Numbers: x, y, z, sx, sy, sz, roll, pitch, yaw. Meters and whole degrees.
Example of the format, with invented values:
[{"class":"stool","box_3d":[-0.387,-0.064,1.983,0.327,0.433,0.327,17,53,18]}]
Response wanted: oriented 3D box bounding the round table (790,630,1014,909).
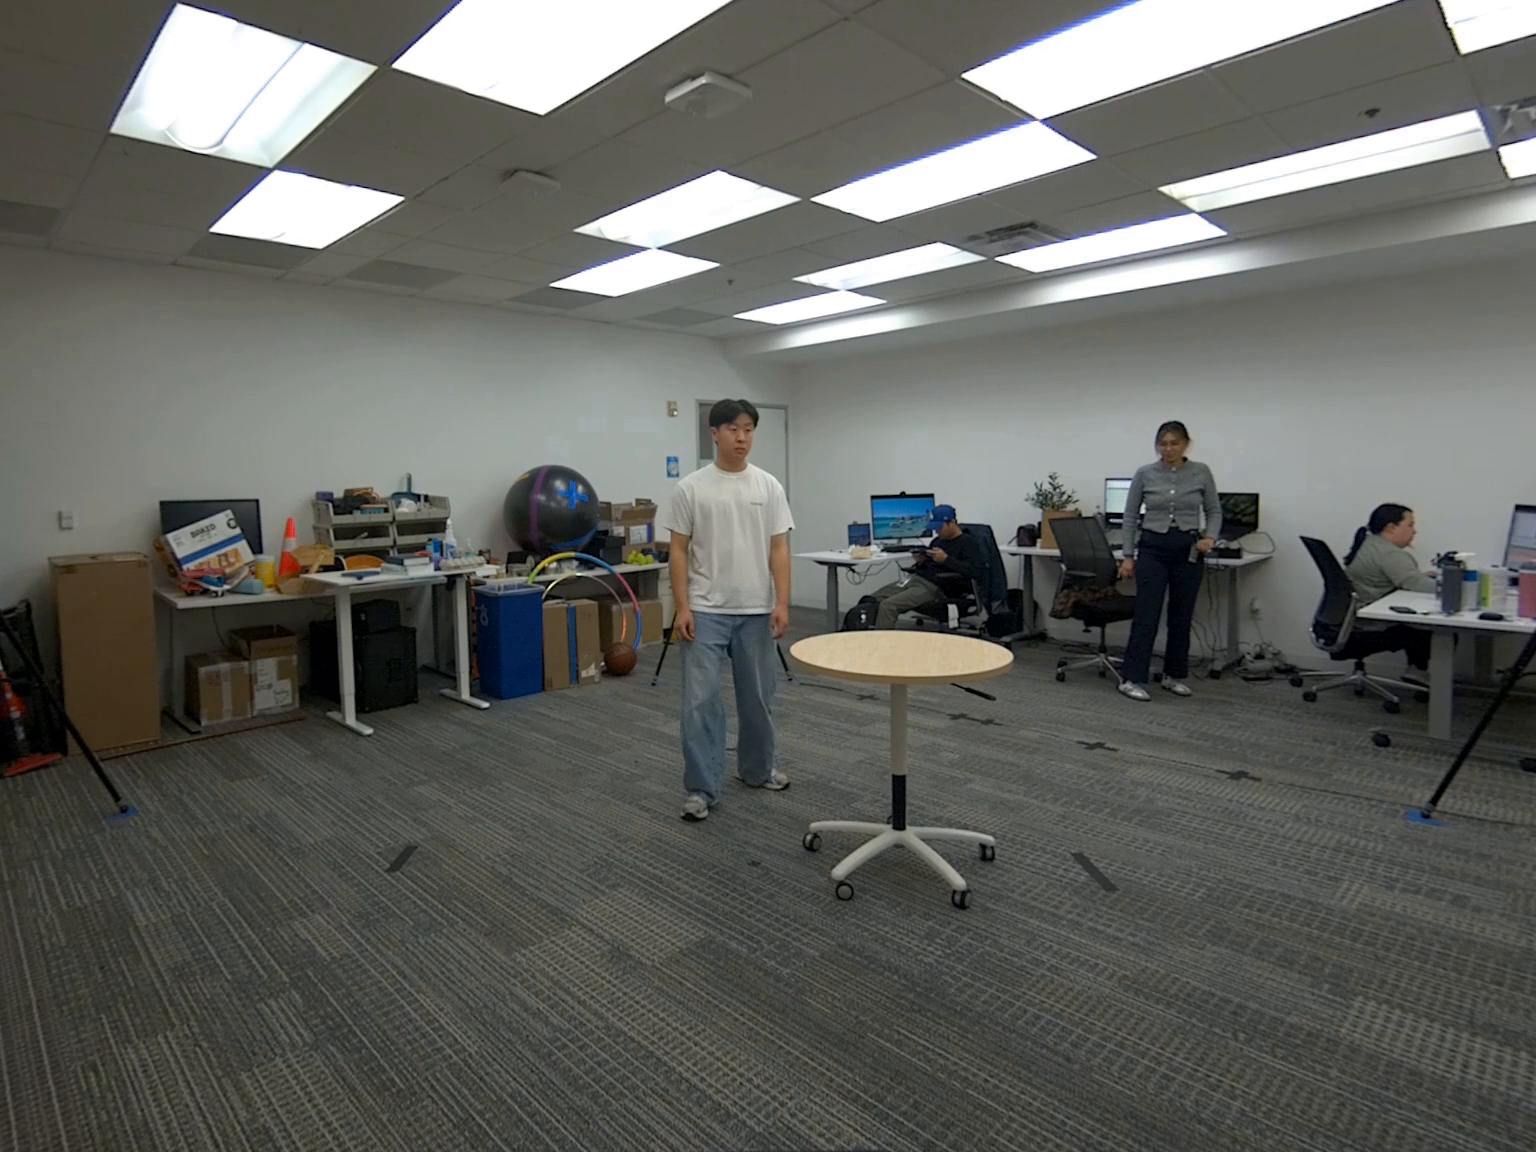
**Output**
[{"class":"round table","box_3d":[0.469,0.654,3.022,0.784,0.784,0.789,-1,5,-2]}]
